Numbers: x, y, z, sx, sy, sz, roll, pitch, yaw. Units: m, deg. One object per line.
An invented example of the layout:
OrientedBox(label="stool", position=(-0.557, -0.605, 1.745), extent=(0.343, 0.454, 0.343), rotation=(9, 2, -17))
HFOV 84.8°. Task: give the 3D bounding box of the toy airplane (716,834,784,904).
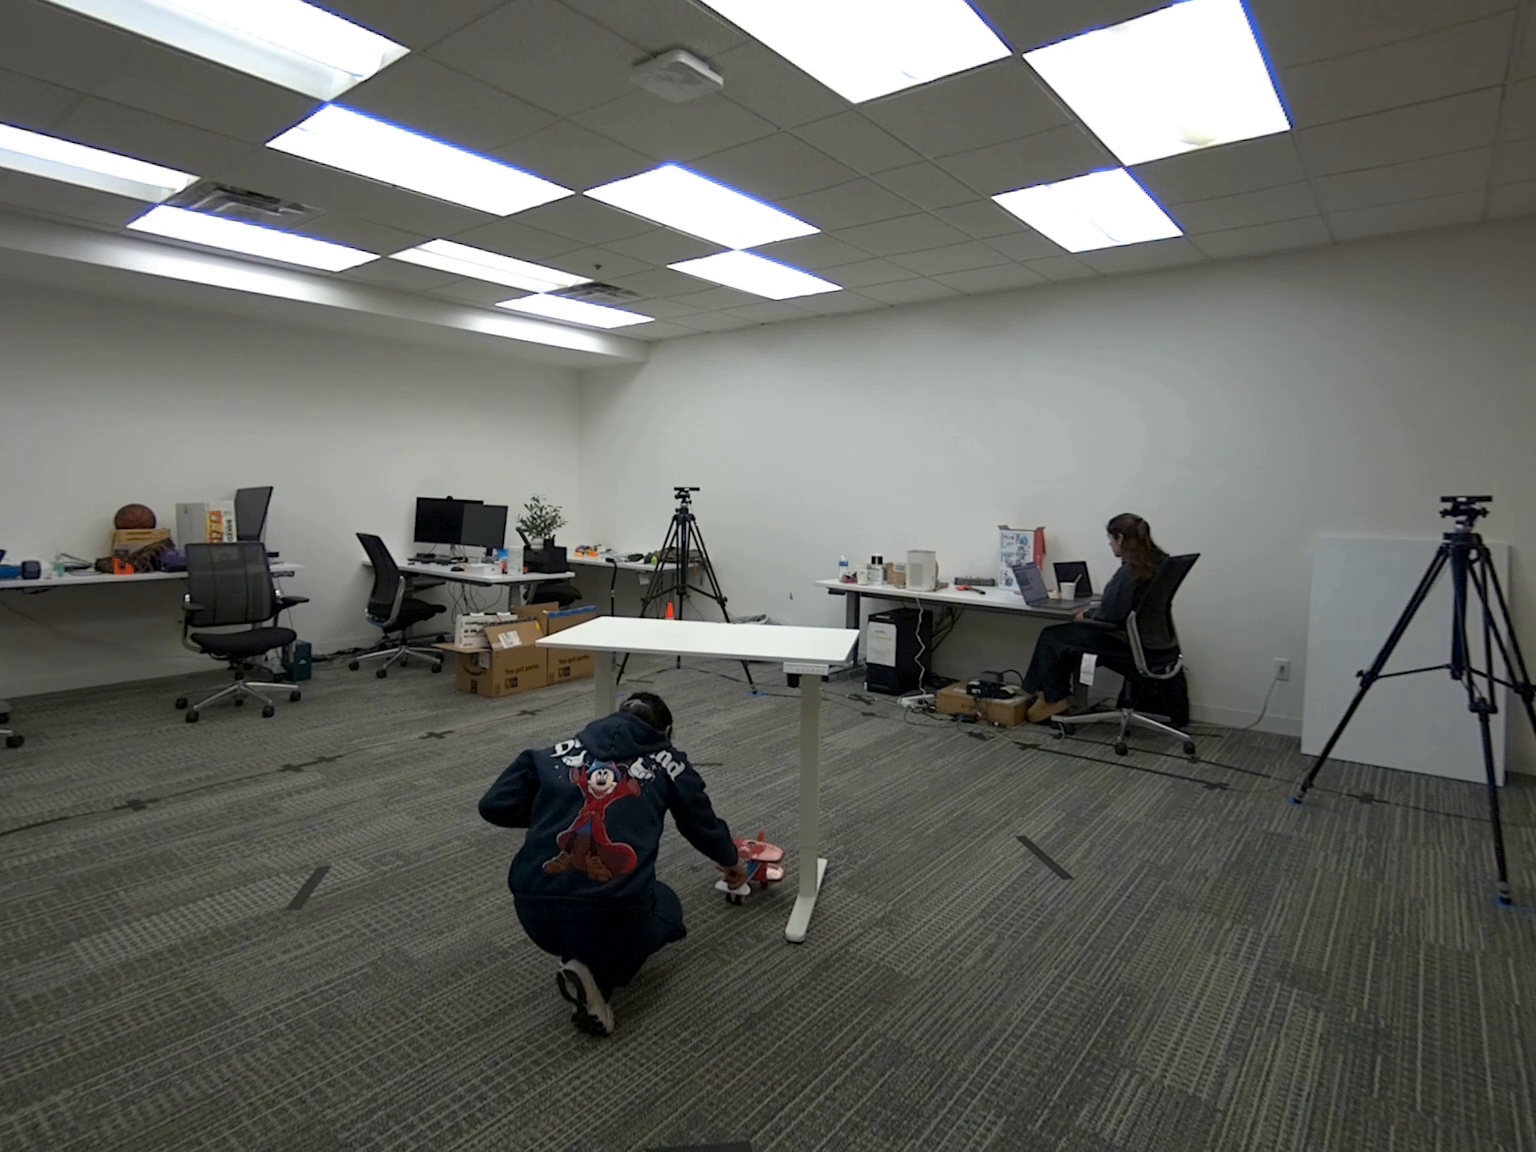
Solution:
OrientedBox(label="toy airplane", position=(-0.058, 1.012, 2.933), extent=(0.250, 0.156, 0.261), rotation=(1, 2, -6))
